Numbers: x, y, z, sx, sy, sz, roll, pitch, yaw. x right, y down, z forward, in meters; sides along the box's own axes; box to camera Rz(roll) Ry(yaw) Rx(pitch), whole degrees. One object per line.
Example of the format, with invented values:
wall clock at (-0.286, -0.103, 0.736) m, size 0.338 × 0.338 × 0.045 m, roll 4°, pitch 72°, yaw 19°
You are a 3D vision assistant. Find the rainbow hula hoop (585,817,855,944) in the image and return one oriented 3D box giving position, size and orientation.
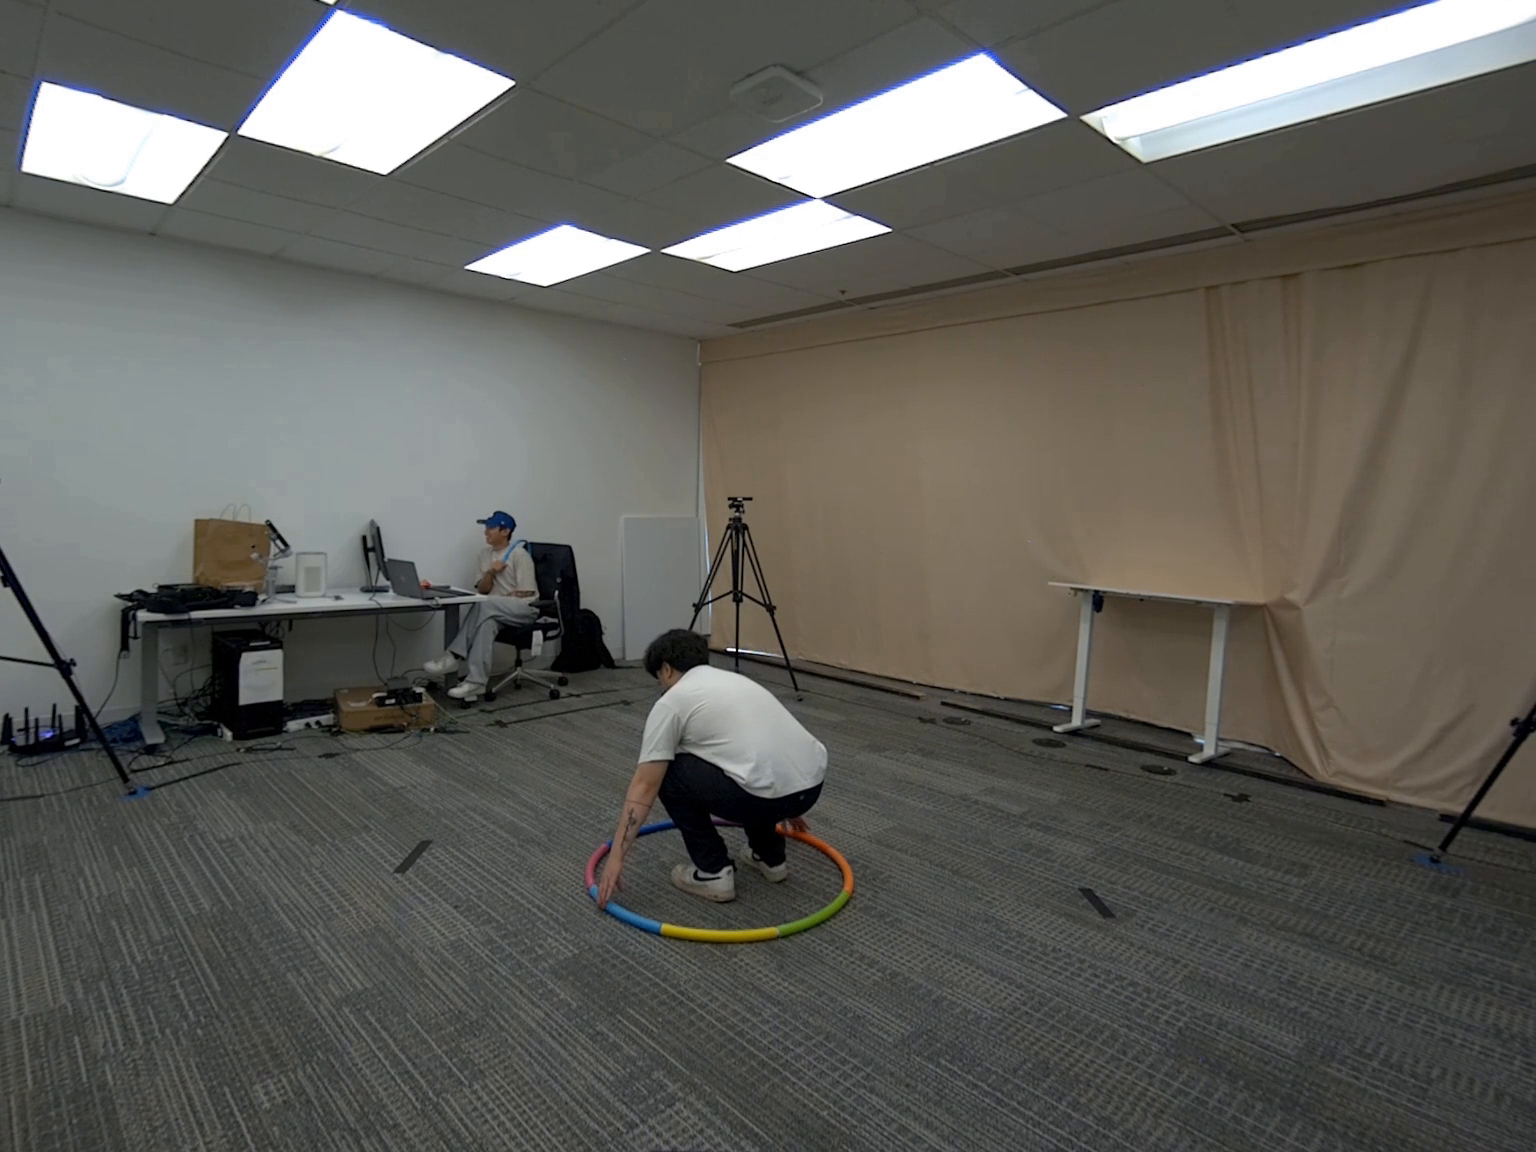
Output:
rainbow hula hoop at (-0.186, 1.077, 3.112) m, size 0.985 × 0.051 × 0.989 m, roll 2°, pitch 5°, yaw -1°
